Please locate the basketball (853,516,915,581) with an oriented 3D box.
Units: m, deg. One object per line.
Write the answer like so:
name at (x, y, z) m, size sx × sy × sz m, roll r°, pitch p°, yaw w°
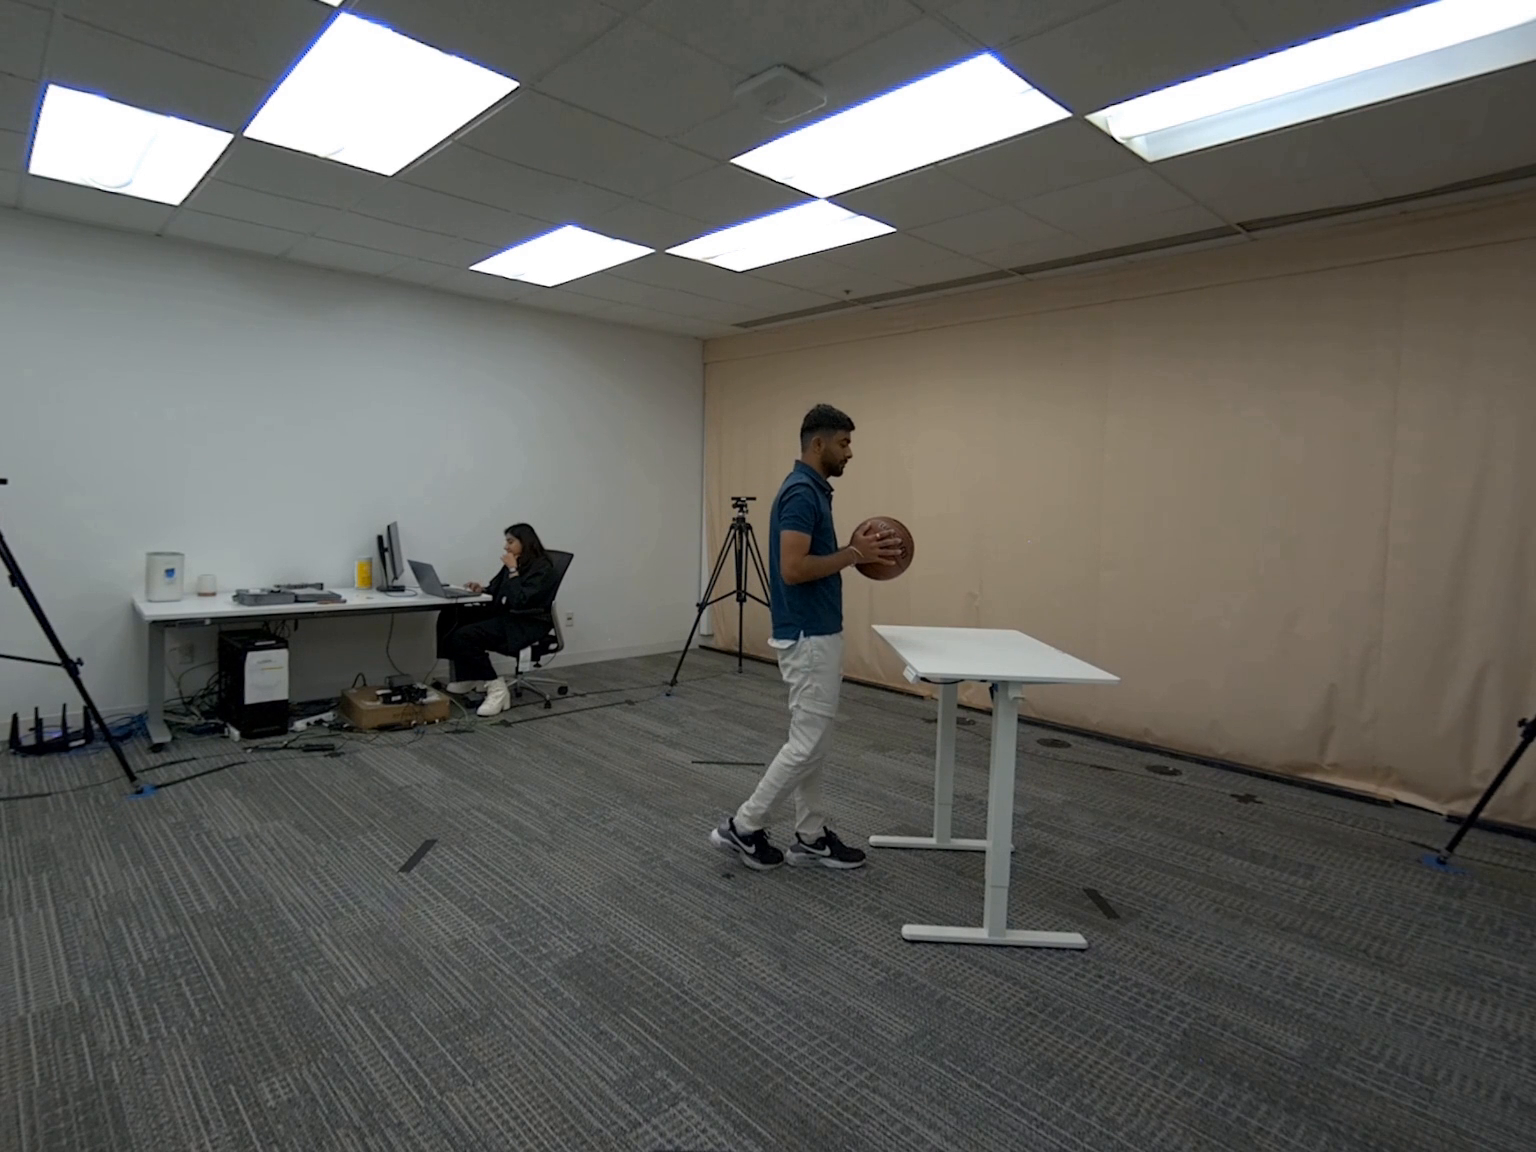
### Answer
basketball at (0.416, -0.102, 3.122) m, size 0.236 × 0.235 × 0.237 m, roll 1°, pitch 4°, yaw -1°
